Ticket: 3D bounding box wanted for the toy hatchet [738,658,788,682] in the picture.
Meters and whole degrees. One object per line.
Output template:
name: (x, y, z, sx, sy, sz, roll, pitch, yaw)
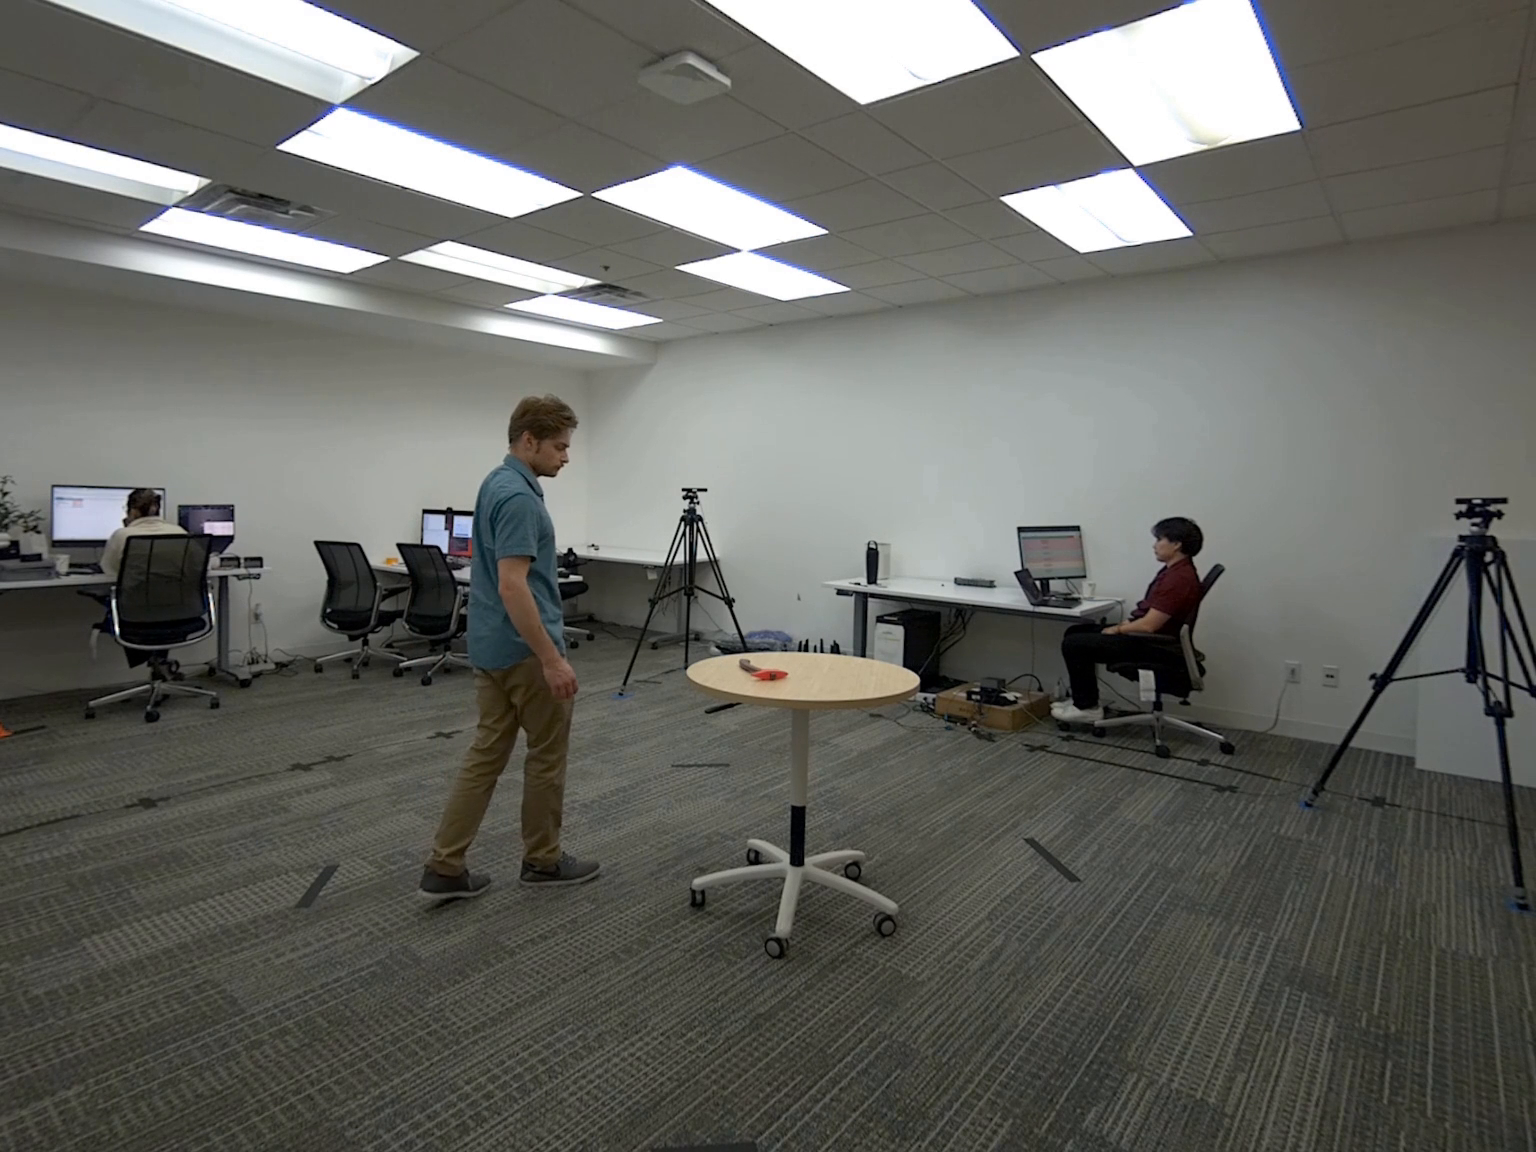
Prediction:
toy hatchet: (-0.024, 0.308, 2.821, 0.130, 0.029, 0.273, -1, 4, -11)
